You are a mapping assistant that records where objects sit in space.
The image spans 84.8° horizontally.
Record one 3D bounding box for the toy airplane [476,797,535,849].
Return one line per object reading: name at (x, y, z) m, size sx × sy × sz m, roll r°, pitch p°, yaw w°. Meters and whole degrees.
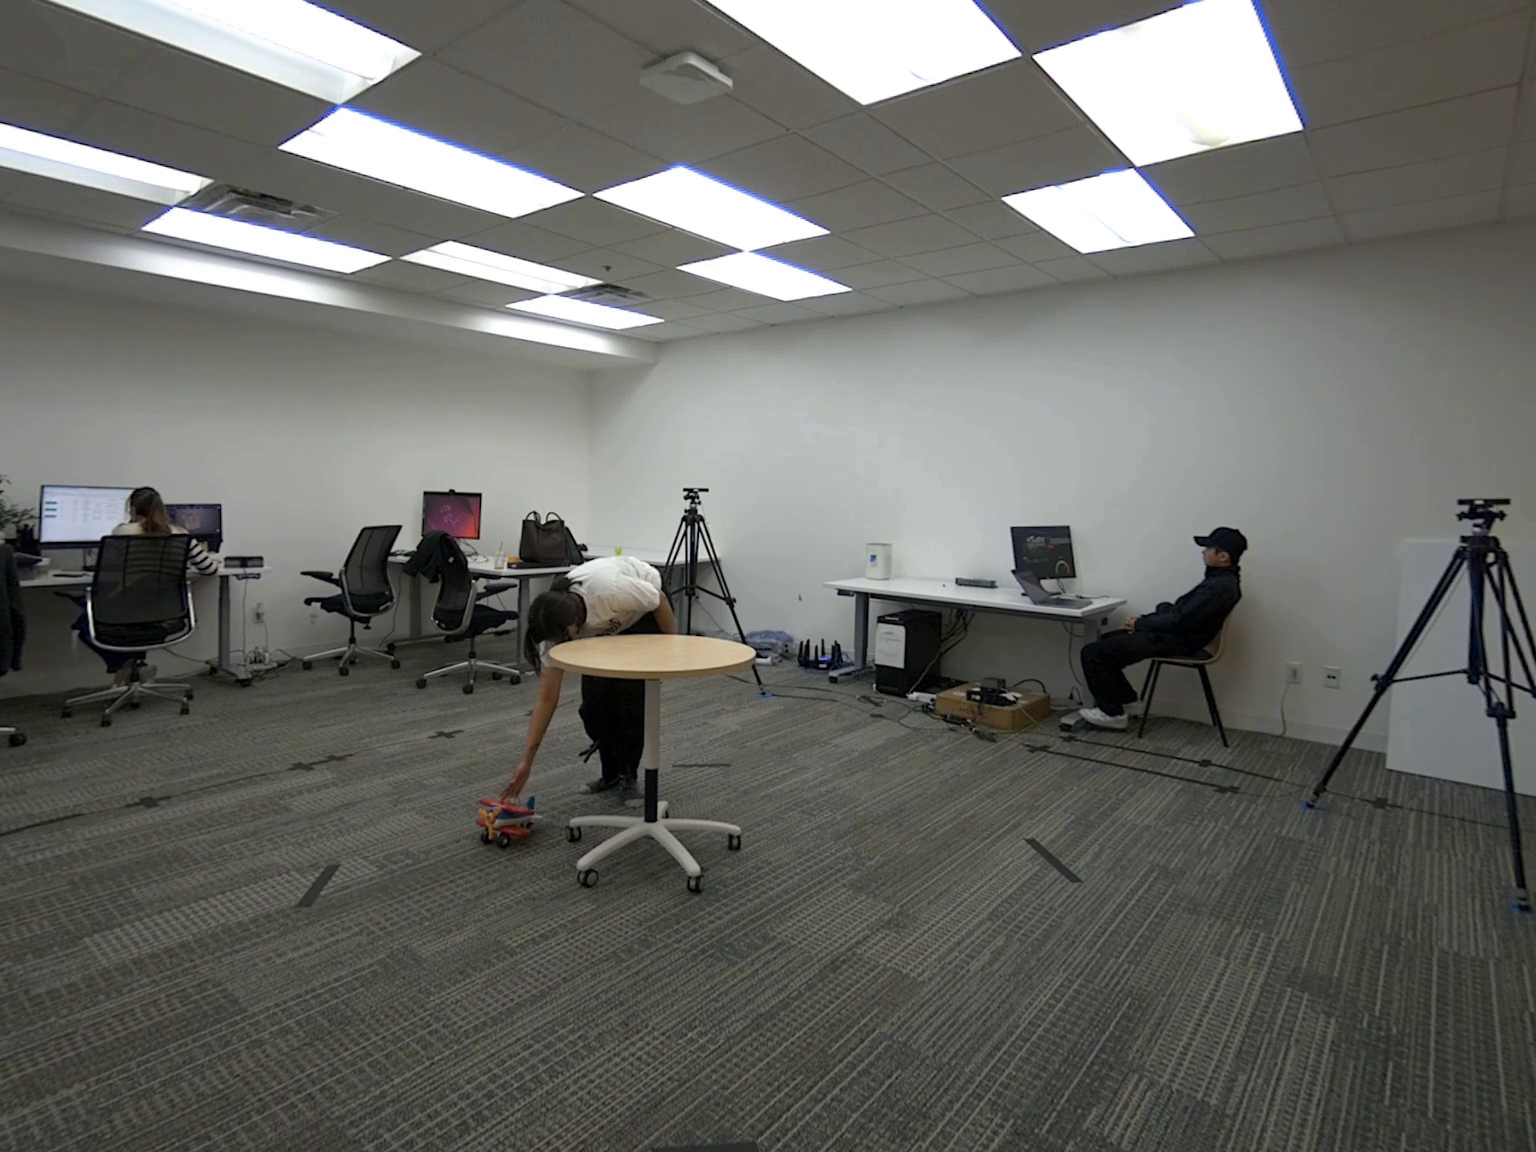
toy airplane at (-1.047, 0.956, 3.368) m, size 0.251 × 0.156 × 0.260 m, roll 0°, pitch 5°, yaw 1°
